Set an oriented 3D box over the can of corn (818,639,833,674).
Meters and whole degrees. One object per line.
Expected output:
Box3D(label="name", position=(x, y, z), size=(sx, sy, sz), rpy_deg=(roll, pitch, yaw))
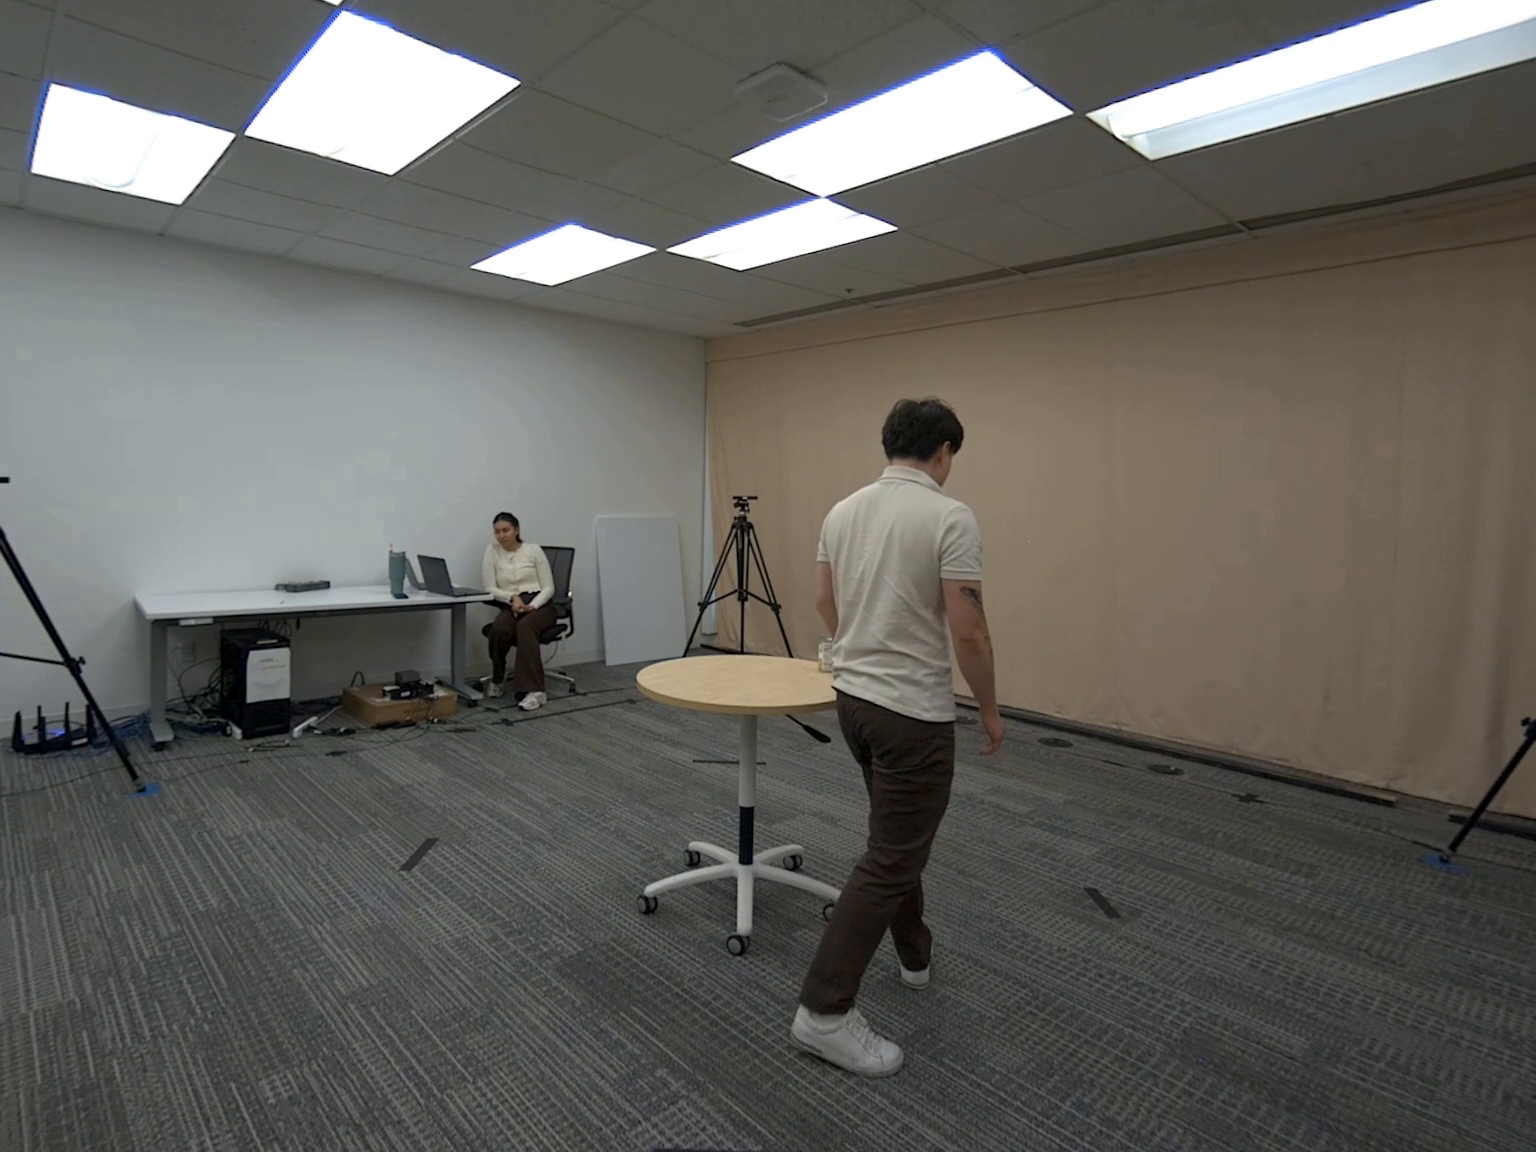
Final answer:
Box3D(label="can of corn", position=(0.213, 0.283, 2.979), size=(0.074, 0.111, 0.074), rpy_deg=(2, 3, -2))
